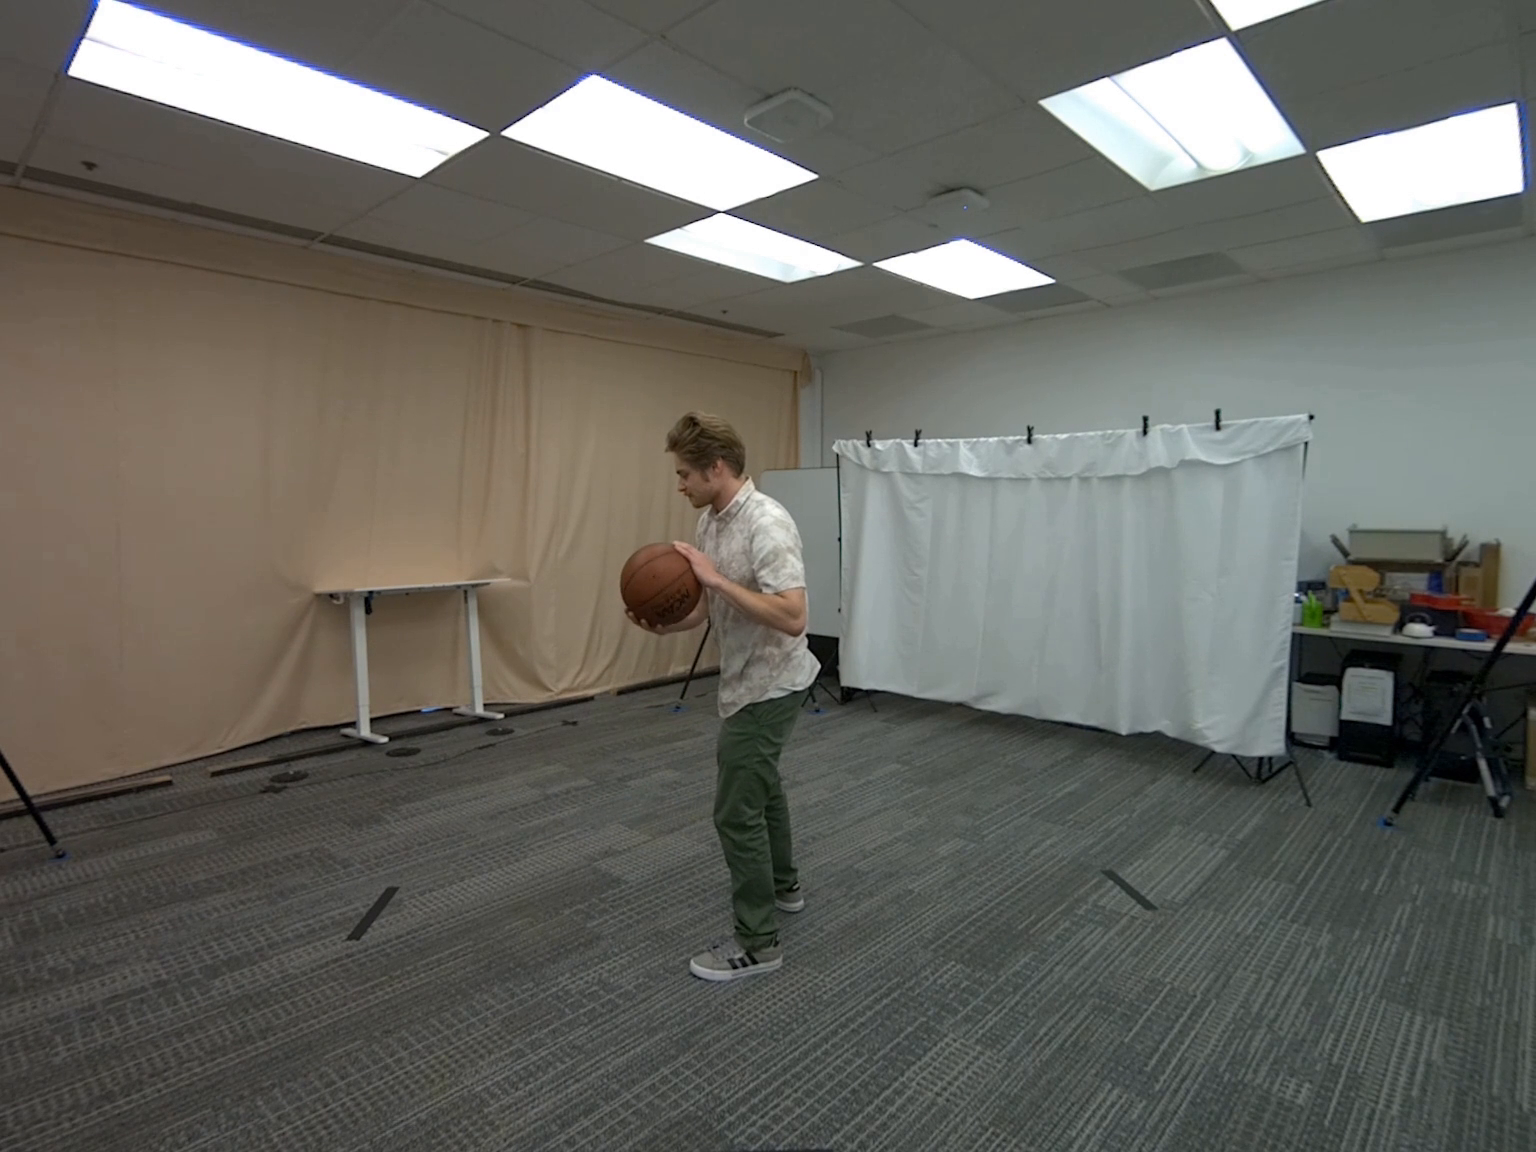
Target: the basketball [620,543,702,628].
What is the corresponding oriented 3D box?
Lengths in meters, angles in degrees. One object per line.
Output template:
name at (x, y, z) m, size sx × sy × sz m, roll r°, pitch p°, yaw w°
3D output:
basketball at (-0.310, 0.033, 2.419) m, size 0.236 × 0.235 × 0.237 m, roll 0°, pitch 4°, yaw -2°
